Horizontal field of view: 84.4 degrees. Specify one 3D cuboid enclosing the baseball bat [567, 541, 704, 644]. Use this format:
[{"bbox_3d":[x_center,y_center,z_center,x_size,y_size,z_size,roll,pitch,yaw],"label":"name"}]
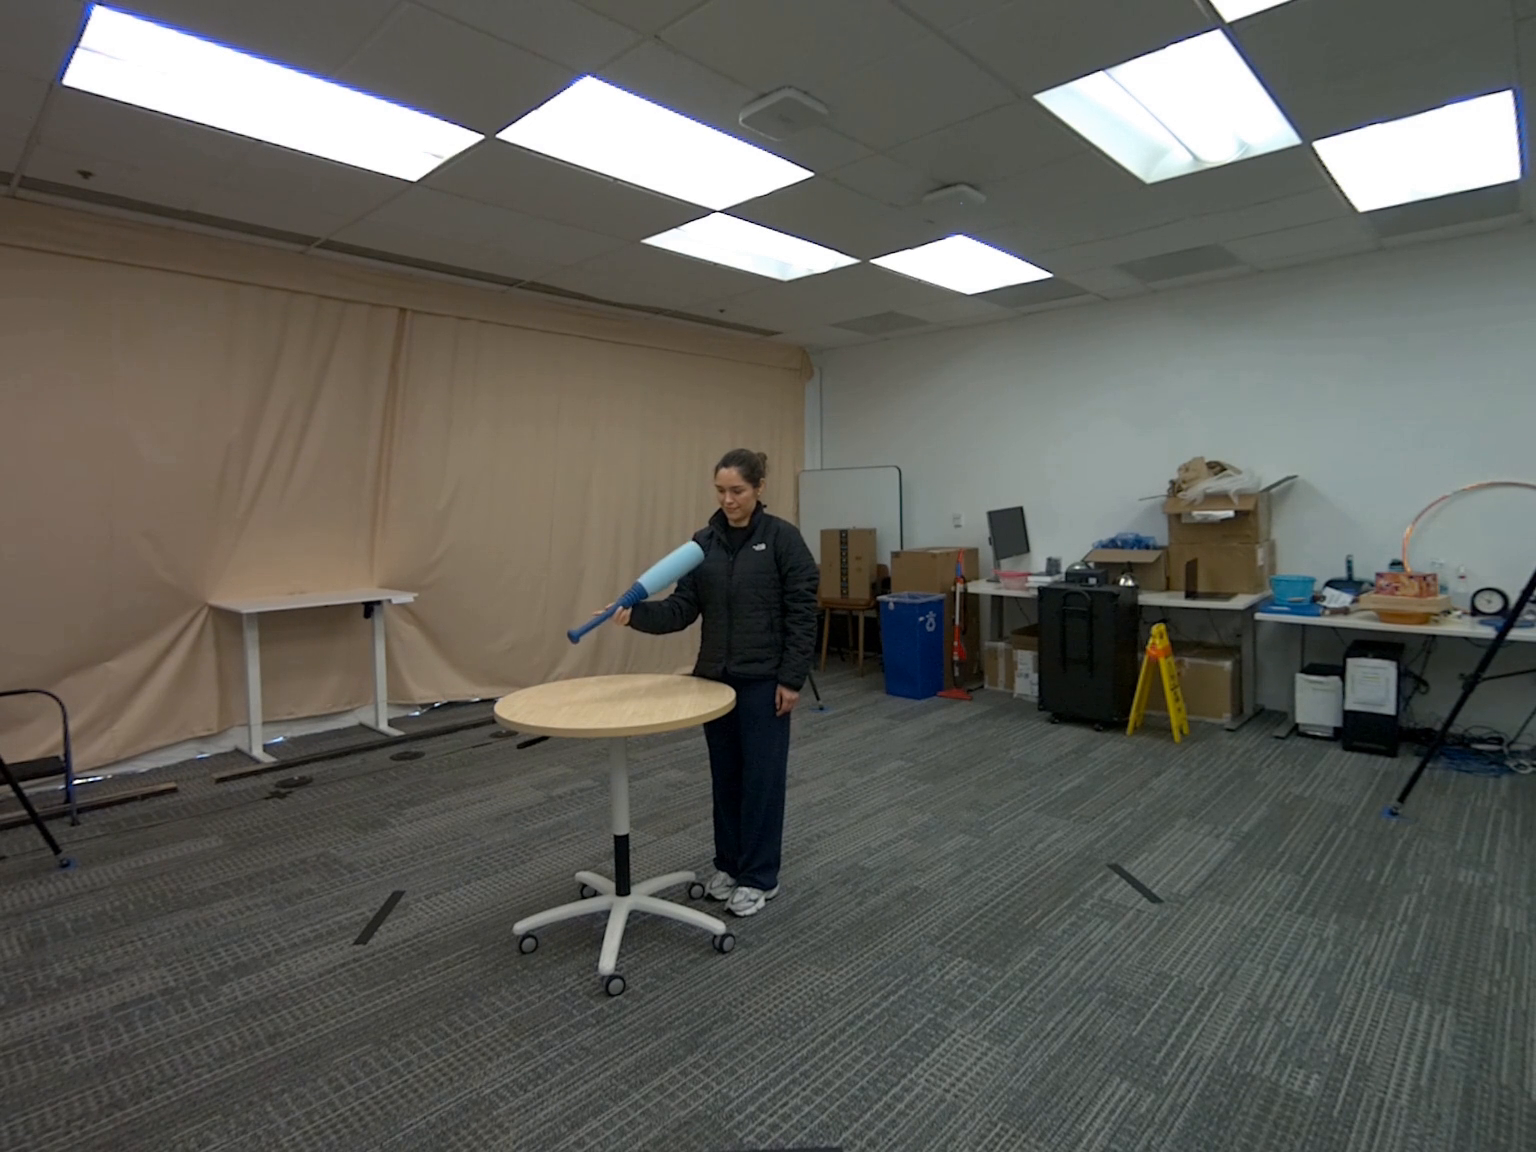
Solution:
[{"bbox_3d":[-0.429,0.059,2.796,0.537,0.087,0.091,-37,20,-23],"label":"baseball bat"}]
